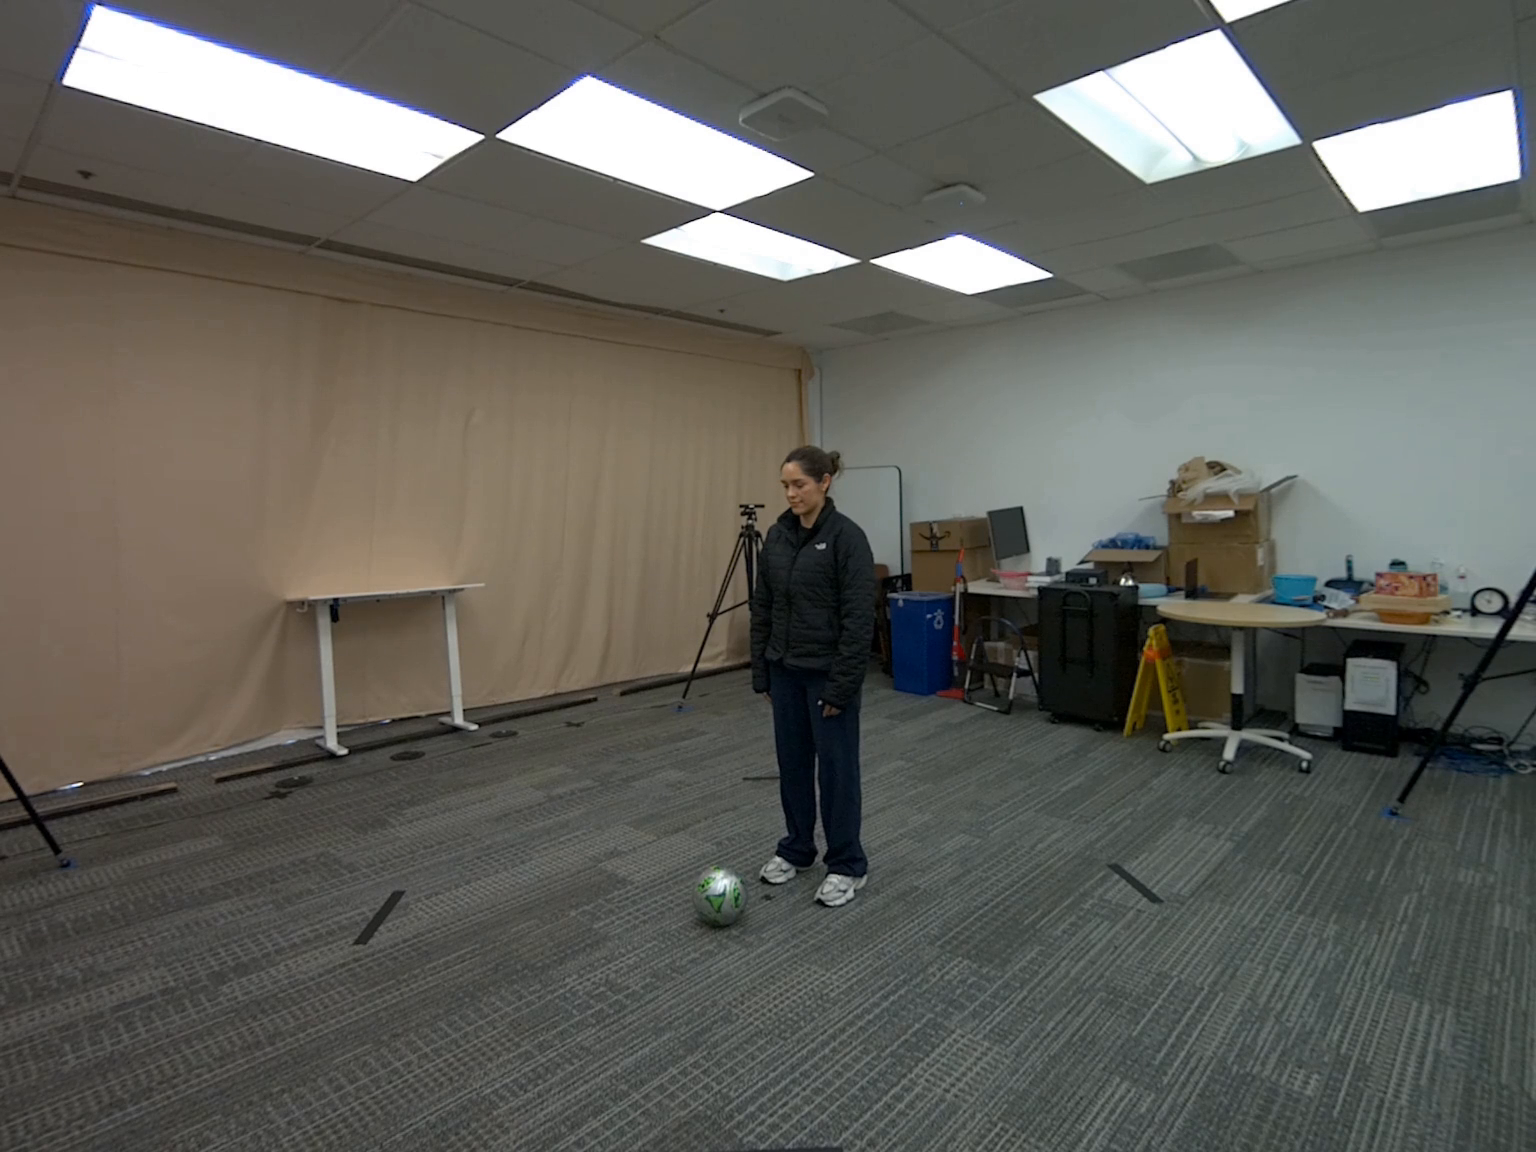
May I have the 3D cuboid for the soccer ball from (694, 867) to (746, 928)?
[{"bbox_3d":[-0.159,1.062,2.800,0.187,0.187,0.188,-1,4,-2],"label":"soccer ball"}]
